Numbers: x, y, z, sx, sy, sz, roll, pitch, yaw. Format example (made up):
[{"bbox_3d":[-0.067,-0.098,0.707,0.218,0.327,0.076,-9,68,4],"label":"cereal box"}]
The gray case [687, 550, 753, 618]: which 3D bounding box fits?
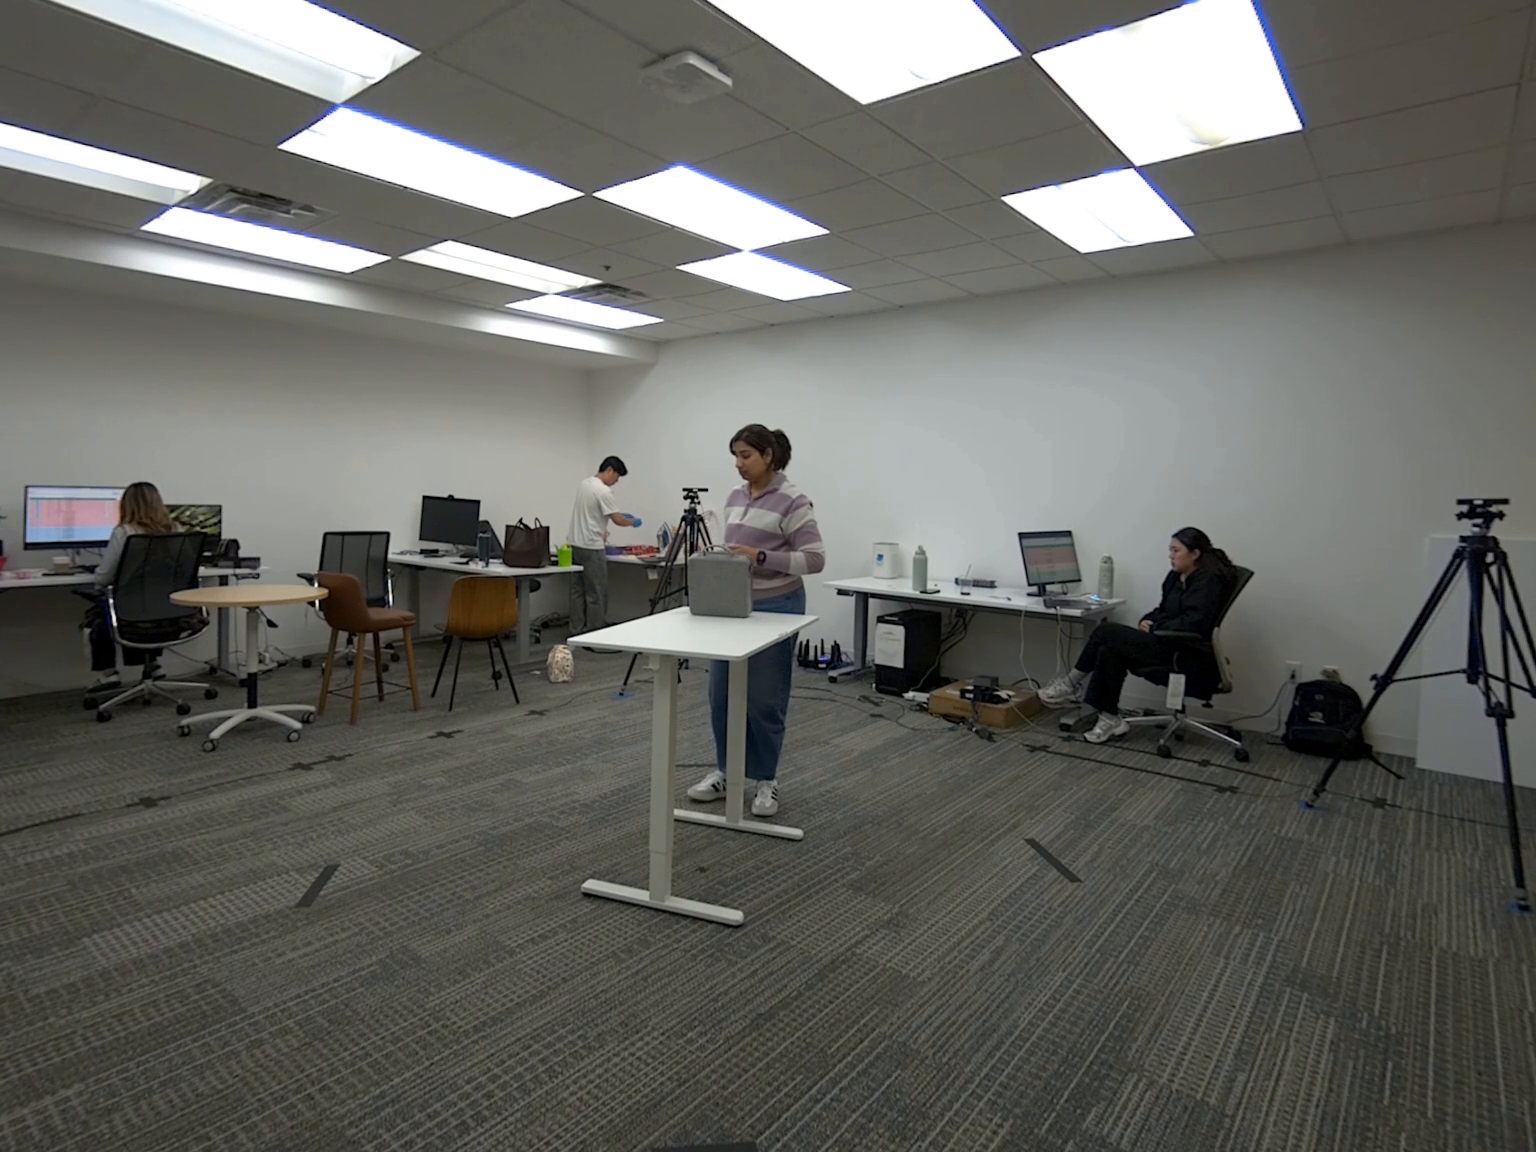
[{"bbox_3d":[-0.201,0.029,3.418,0.260,0.258,0.104,1,11,10],"label":"gray case"}]
